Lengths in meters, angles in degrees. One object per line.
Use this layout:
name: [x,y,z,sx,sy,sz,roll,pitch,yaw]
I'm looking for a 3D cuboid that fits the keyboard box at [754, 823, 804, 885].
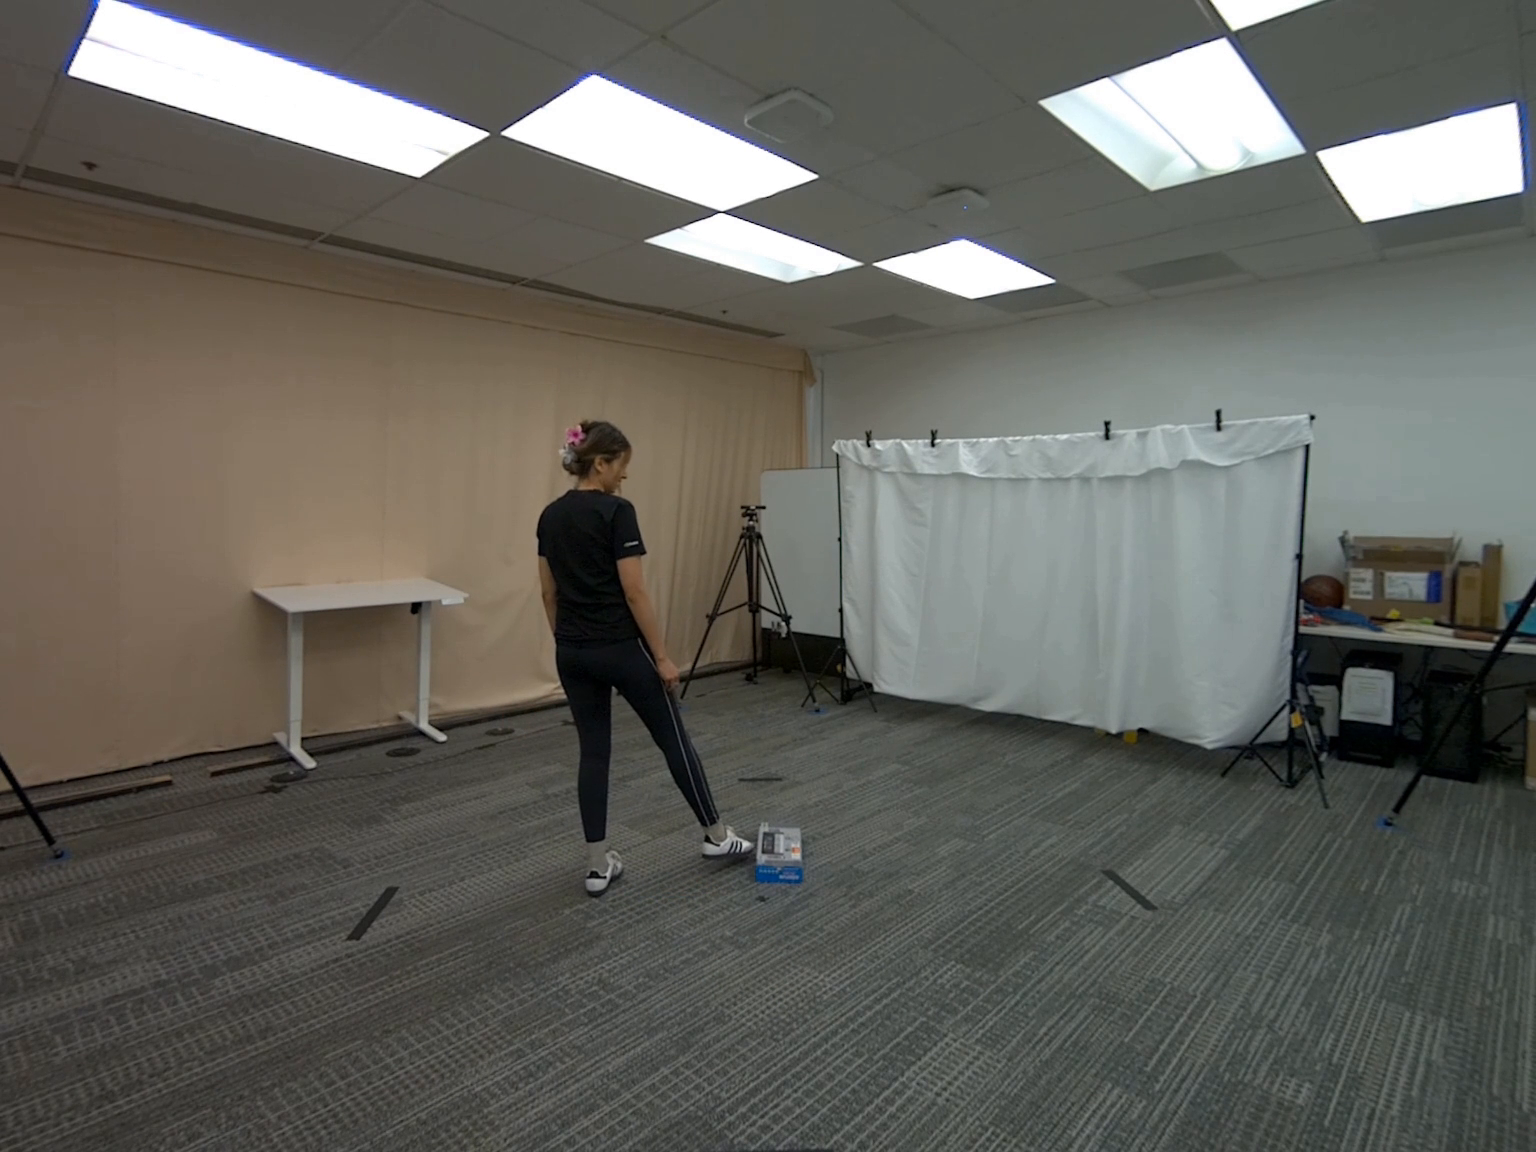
keyboard box: [0.041,1.085,3.326,0.176,0.059,0.436,1,5,2]
